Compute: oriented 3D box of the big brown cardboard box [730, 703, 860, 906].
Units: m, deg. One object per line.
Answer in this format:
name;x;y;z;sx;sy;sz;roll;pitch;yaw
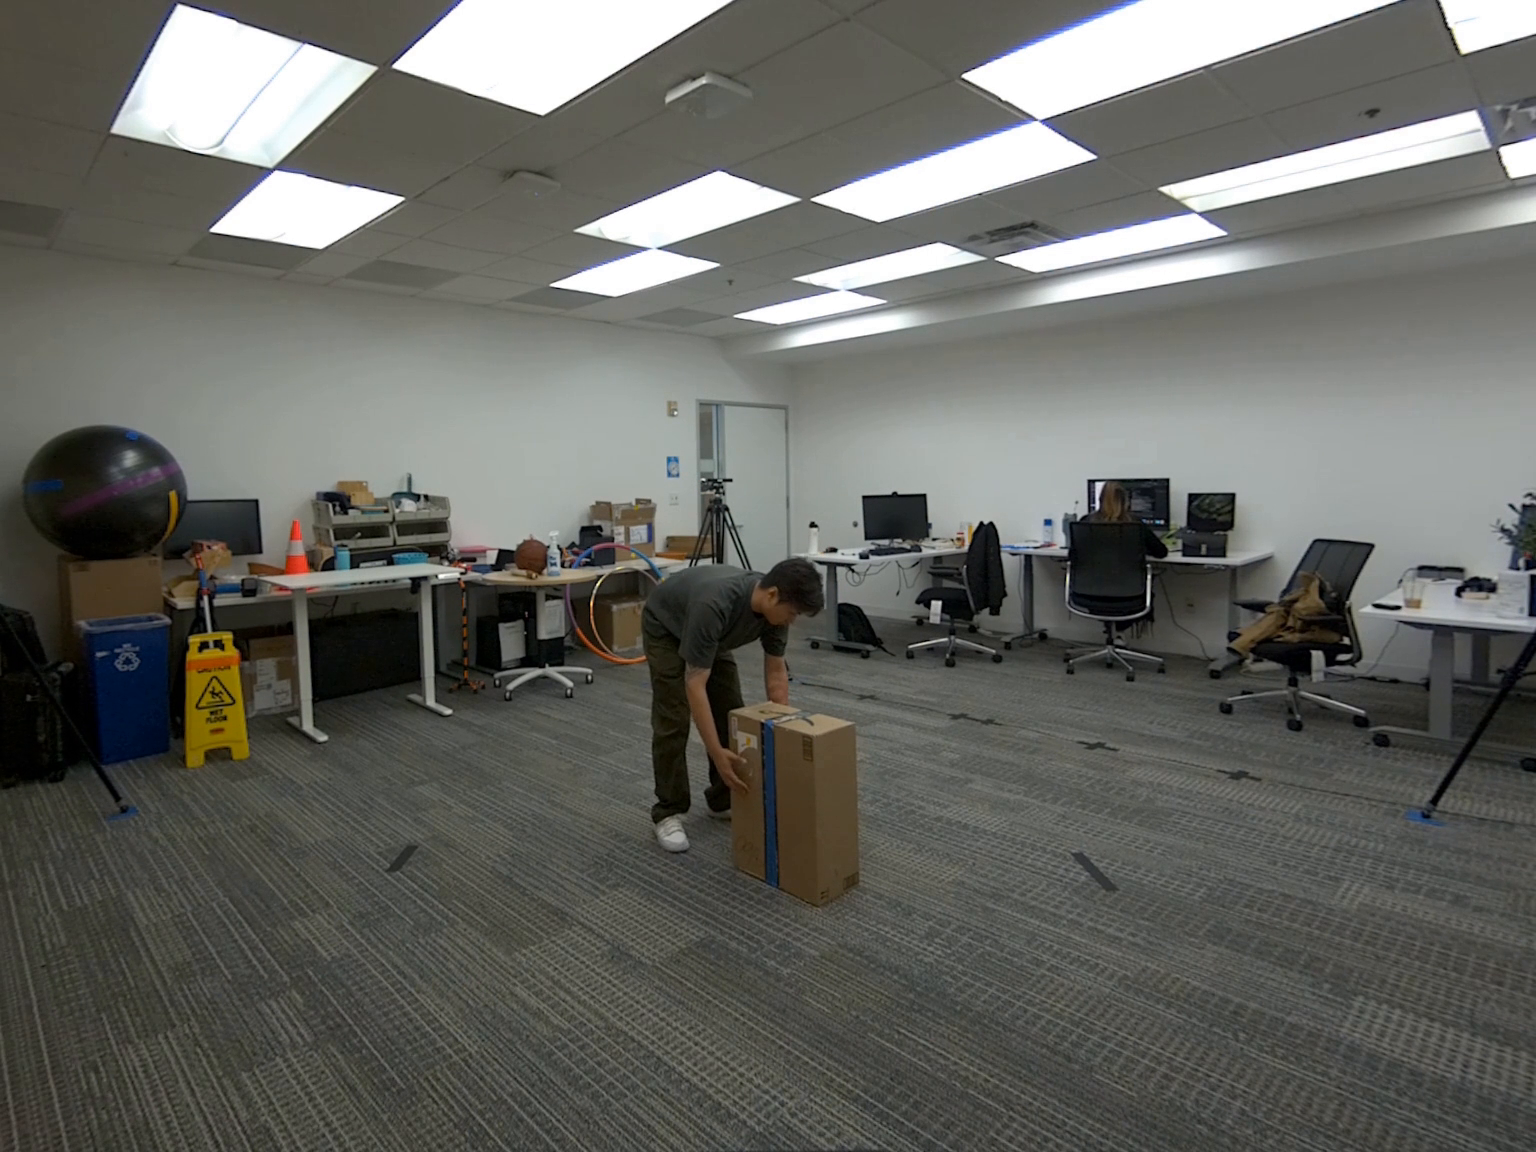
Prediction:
big brown cardboard box;0.088;0.768;2.985;0.227;0.587;0.430;-5;5;-42
